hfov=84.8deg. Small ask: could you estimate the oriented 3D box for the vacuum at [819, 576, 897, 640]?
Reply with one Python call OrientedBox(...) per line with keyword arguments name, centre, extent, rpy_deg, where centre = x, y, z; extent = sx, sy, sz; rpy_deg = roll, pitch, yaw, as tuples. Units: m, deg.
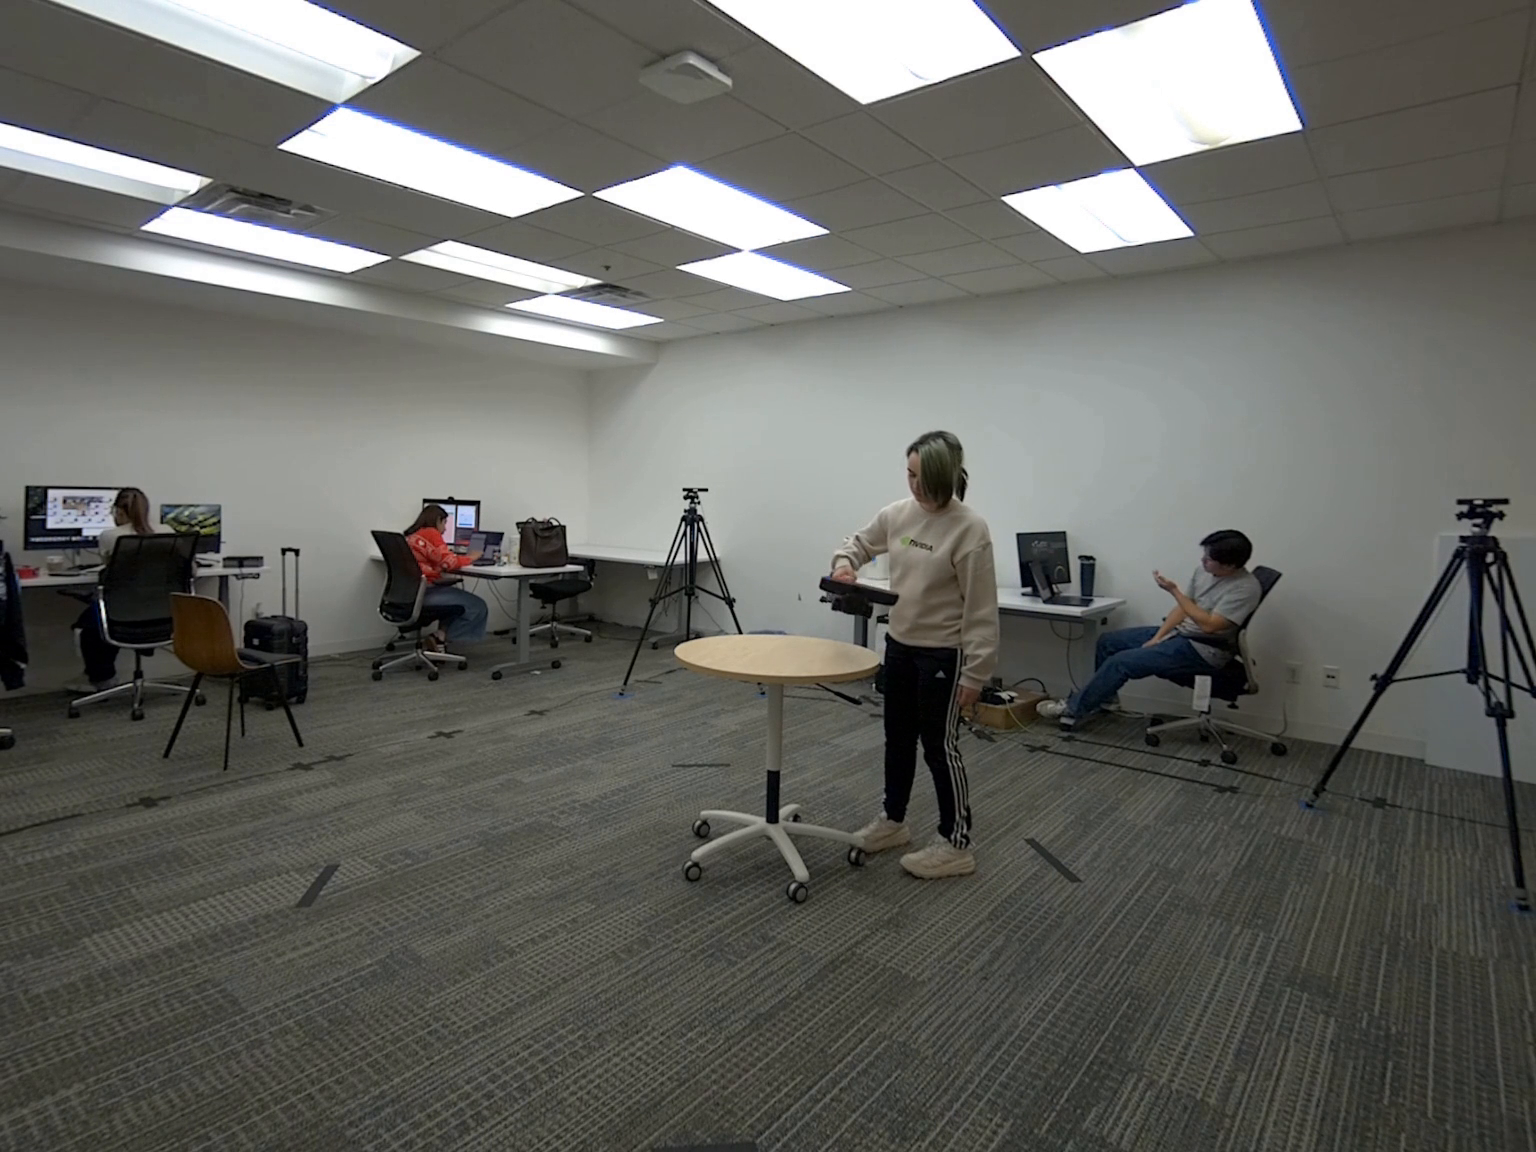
OrientedBox(name="vacuum", centre=(0.261, 0.053, 3.264), extent=(0.253, 0.144, 1.049), rpy_deg=(15, 2, -1))
